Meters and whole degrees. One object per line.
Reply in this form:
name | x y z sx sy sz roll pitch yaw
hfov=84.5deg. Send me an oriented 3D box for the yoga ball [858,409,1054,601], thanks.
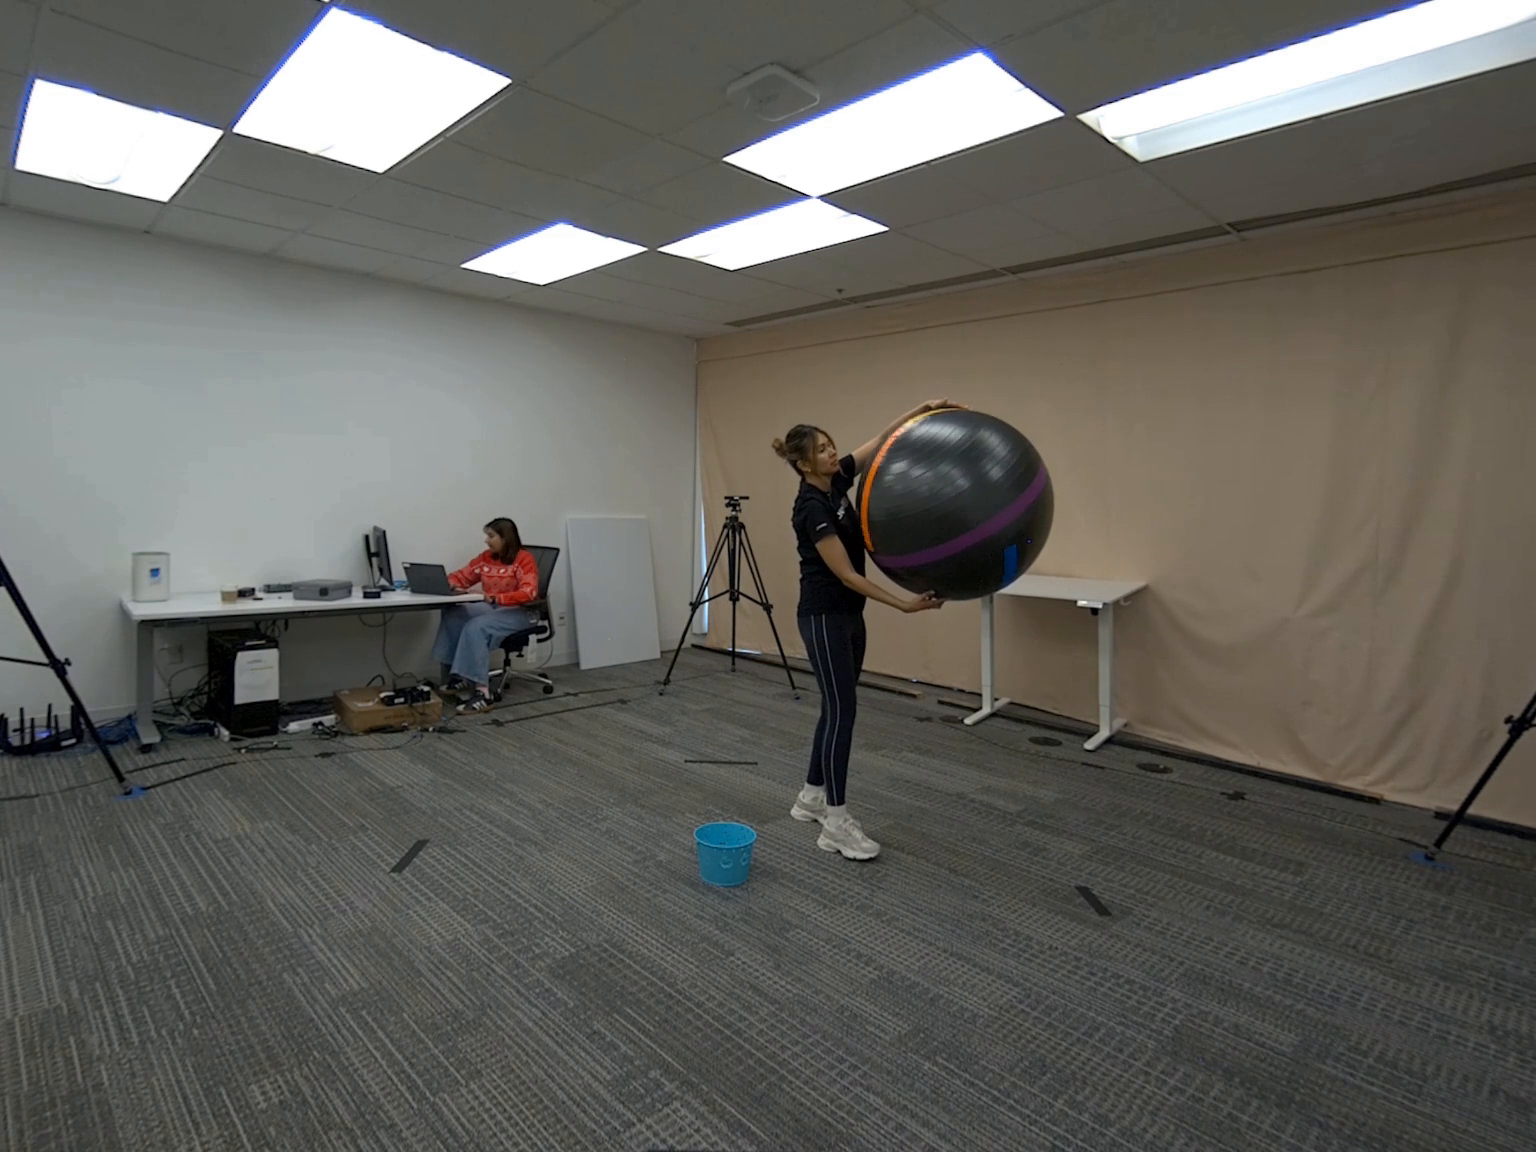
yoga ball | 0.727 -0.277 3.334 0.757 0.756 0.761 1 4 -1
